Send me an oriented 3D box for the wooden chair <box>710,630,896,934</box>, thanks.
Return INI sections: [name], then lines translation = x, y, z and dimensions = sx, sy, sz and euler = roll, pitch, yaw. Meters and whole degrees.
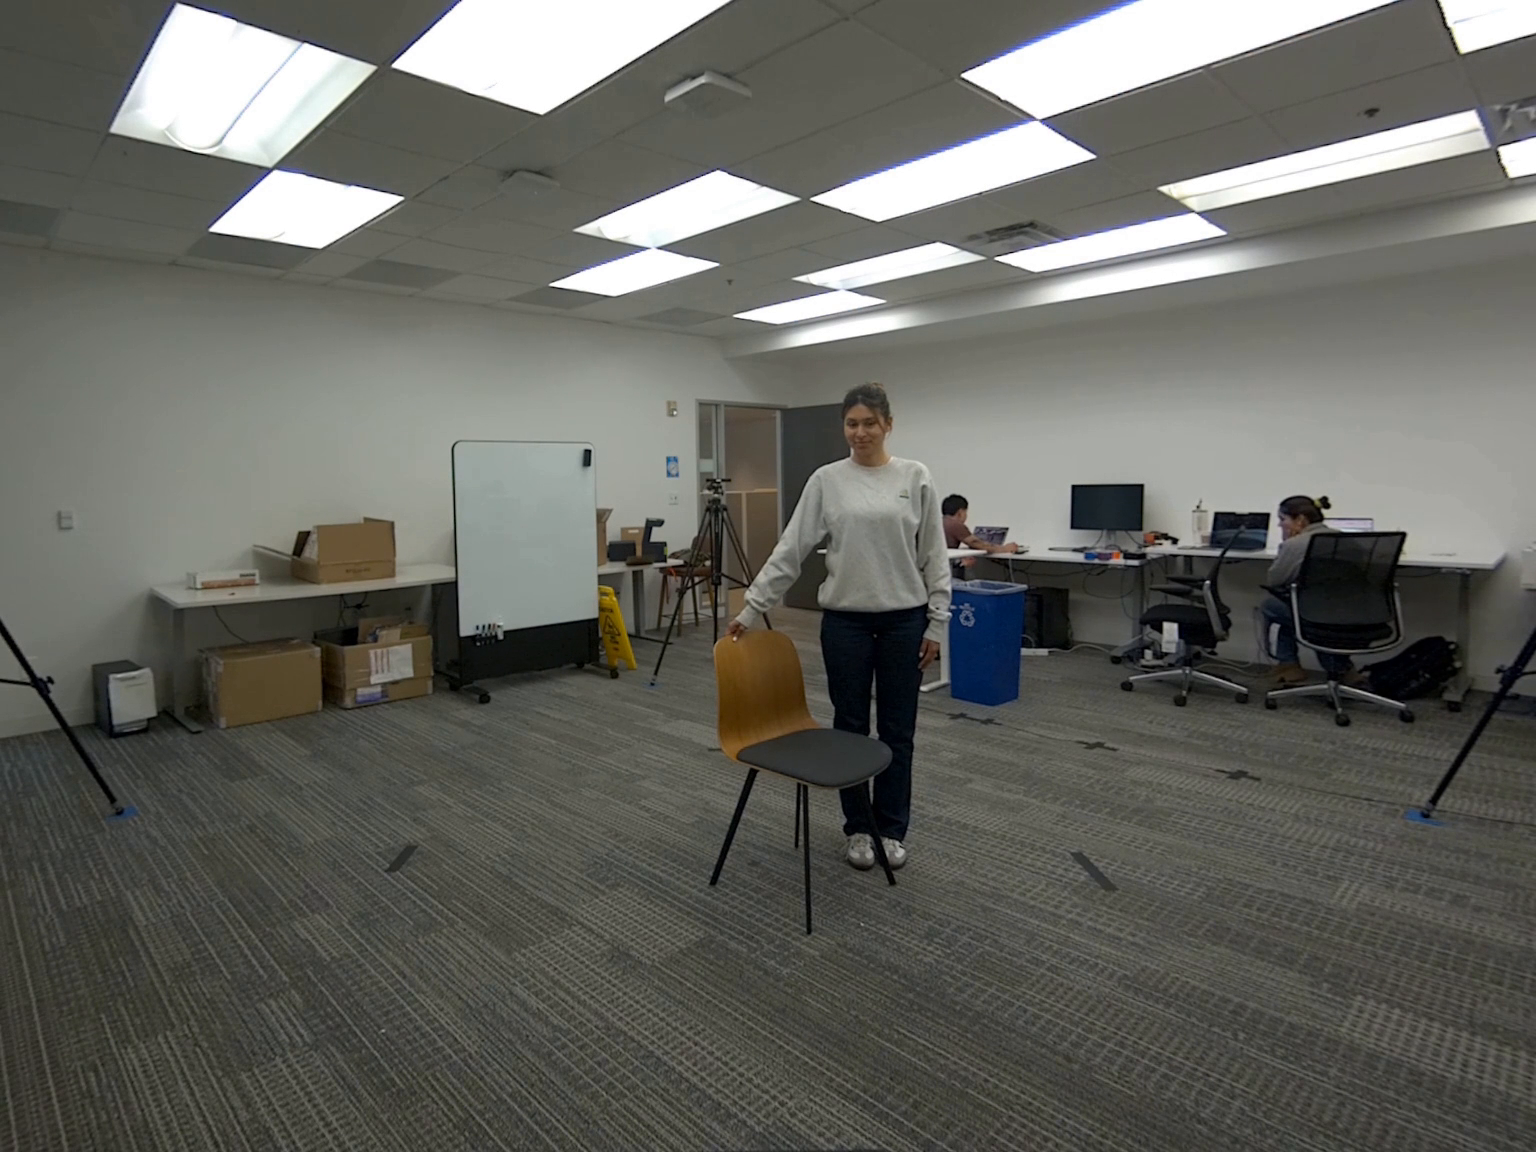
[wooden chair]
translation = 0.114, 0.640, 2.889
dimensions = 0.465, 0.877, 0.538
euler = -4, 1, -45
